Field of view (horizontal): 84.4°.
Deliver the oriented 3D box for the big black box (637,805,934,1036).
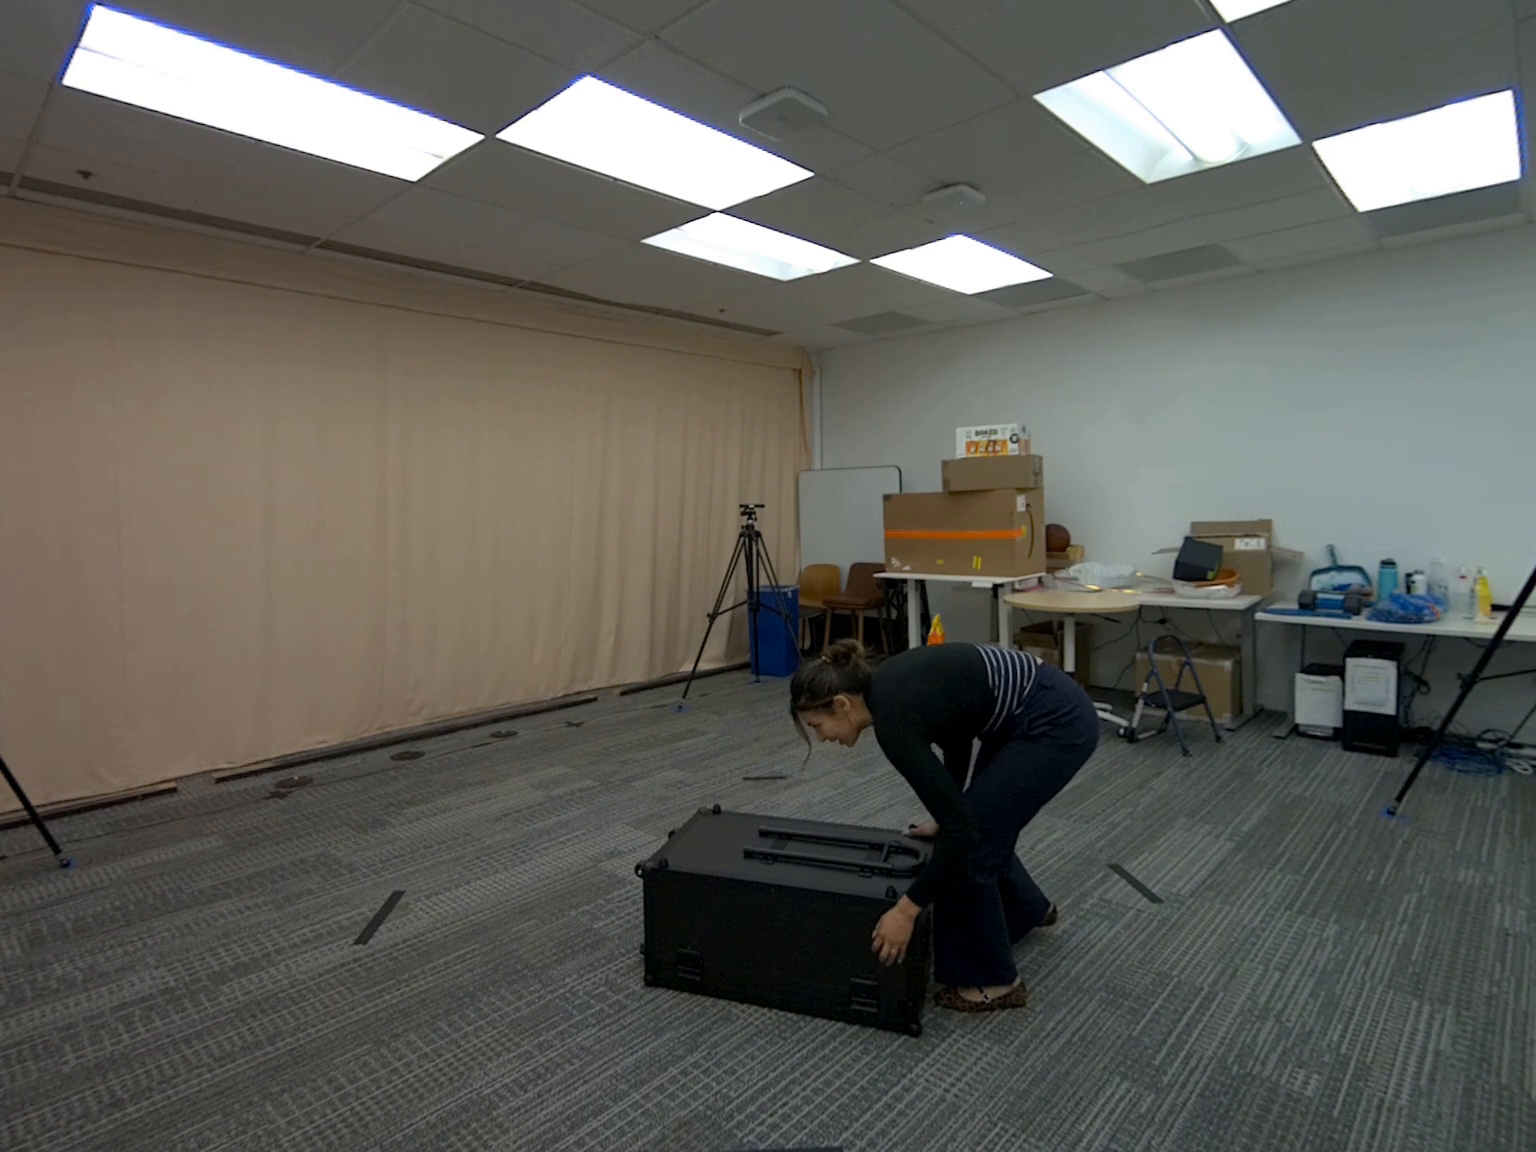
[{"bbox_3d":[0.042,0.985,2.541,0.879,0.395,0.512,-1,4,19],"label":"big black box"}]
